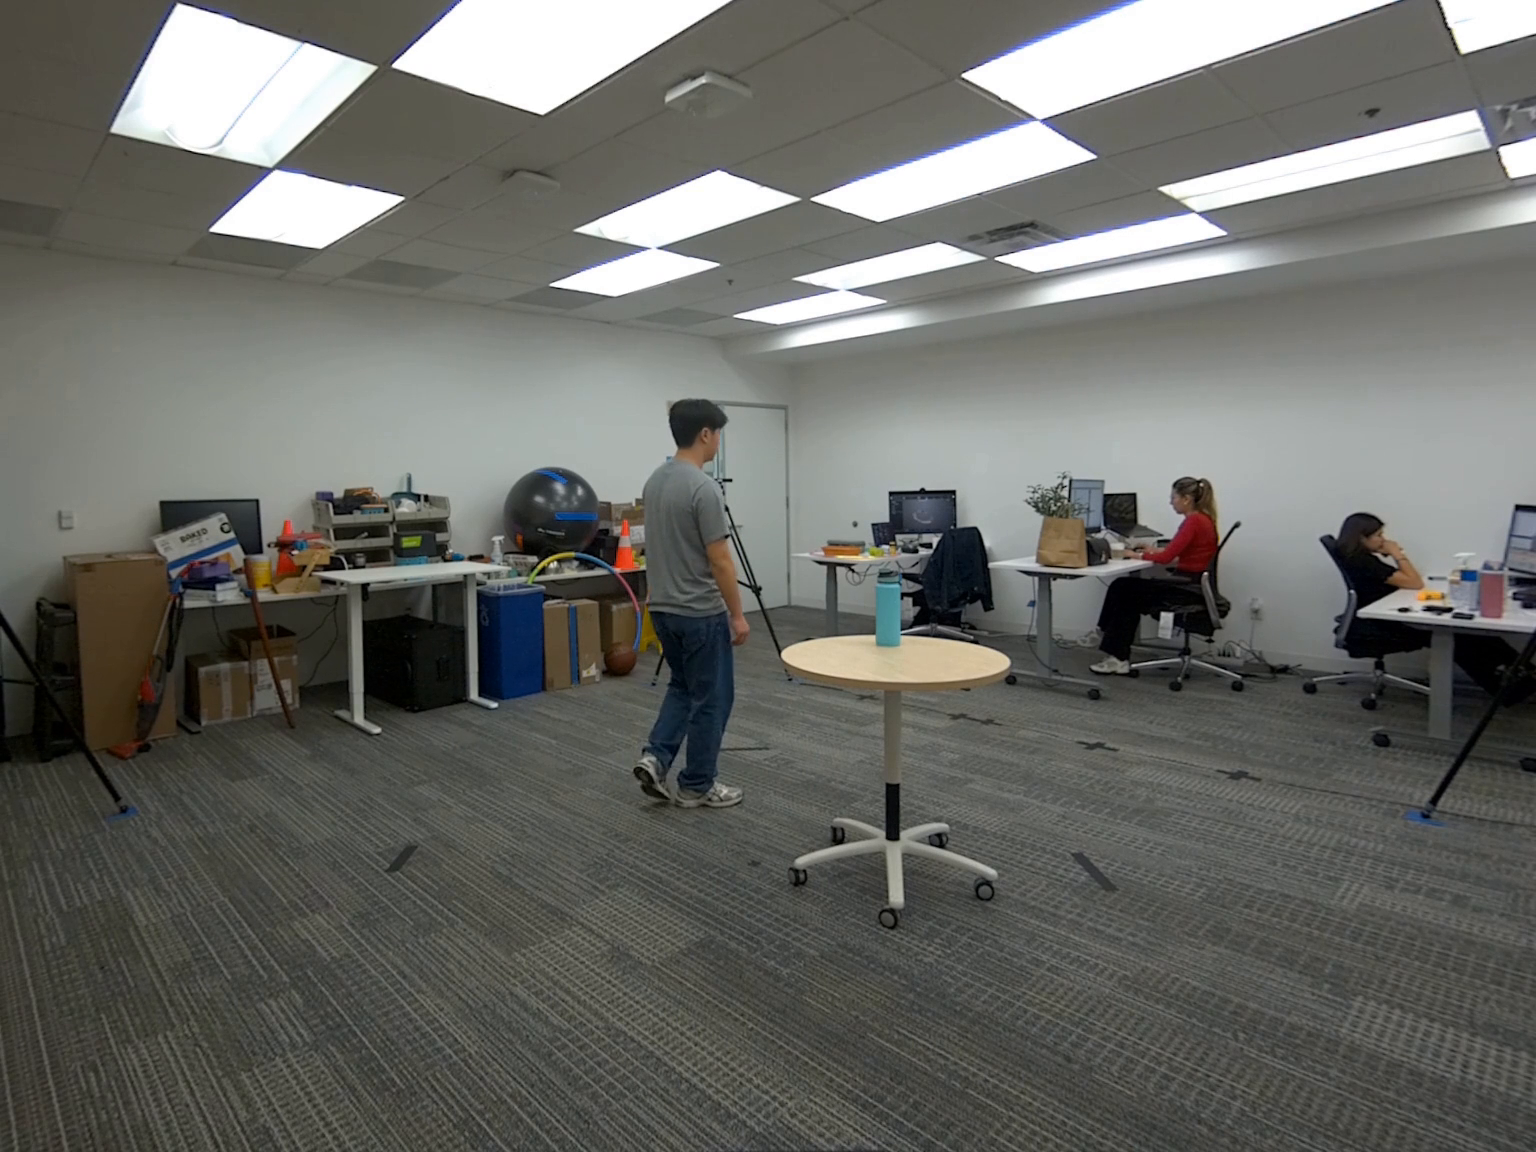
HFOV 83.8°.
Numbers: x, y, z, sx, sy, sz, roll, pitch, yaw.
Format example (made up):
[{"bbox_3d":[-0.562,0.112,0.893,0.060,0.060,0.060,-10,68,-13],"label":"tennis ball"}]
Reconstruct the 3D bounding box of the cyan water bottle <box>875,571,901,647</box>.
[{"bbox_3d":[0.448,0.112,3.118,0.092,0.283,0.092,0,2,-2],"label":"cyan water bottle"}]
